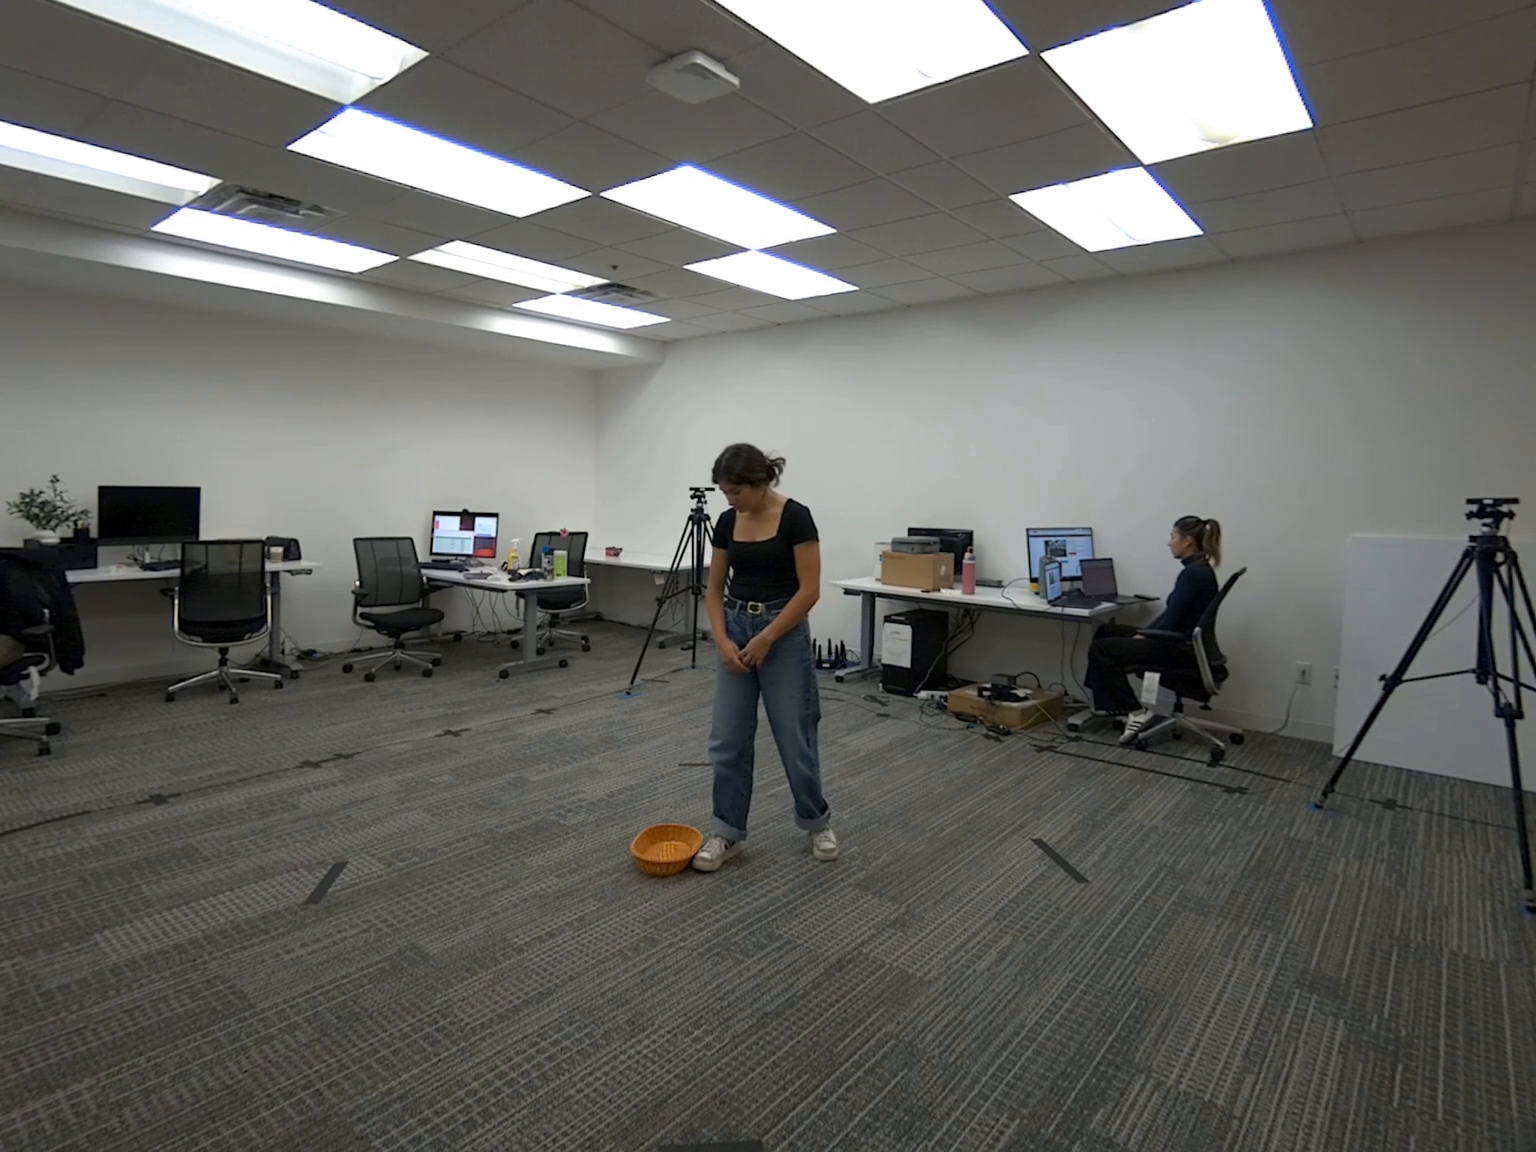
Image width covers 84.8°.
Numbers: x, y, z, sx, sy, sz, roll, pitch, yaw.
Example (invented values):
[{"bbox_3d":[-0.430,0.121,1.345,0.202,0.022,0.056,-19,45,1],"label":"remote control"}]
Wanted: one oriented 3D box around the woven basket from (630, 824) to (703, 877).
[{"bbox_3d":[-0.384,1.019,3.173,0.256,0.073,0.346,3,5,13],"label":"woven basket"}]
